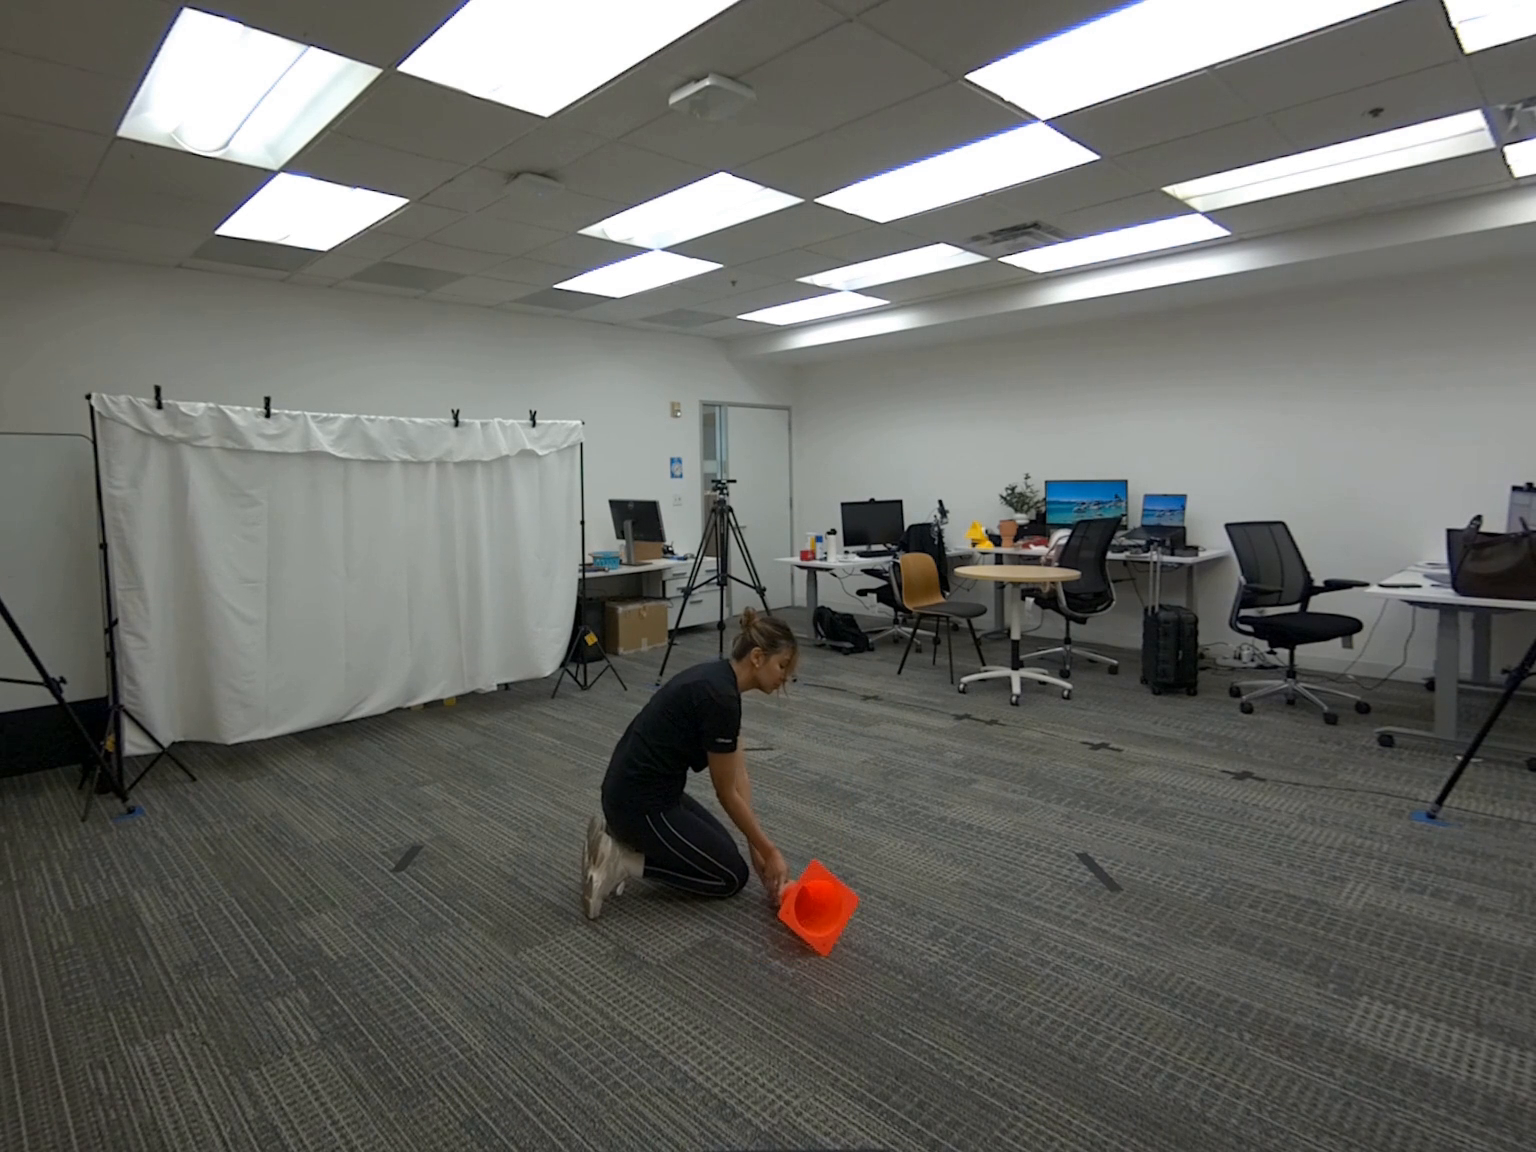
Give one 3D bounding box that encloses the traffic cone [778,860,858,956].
[{"bbox_3d":[0.087,1.025,2.703,0.204,0.203,0.386,-51,8,-24],"label":"traffic cone"}]
